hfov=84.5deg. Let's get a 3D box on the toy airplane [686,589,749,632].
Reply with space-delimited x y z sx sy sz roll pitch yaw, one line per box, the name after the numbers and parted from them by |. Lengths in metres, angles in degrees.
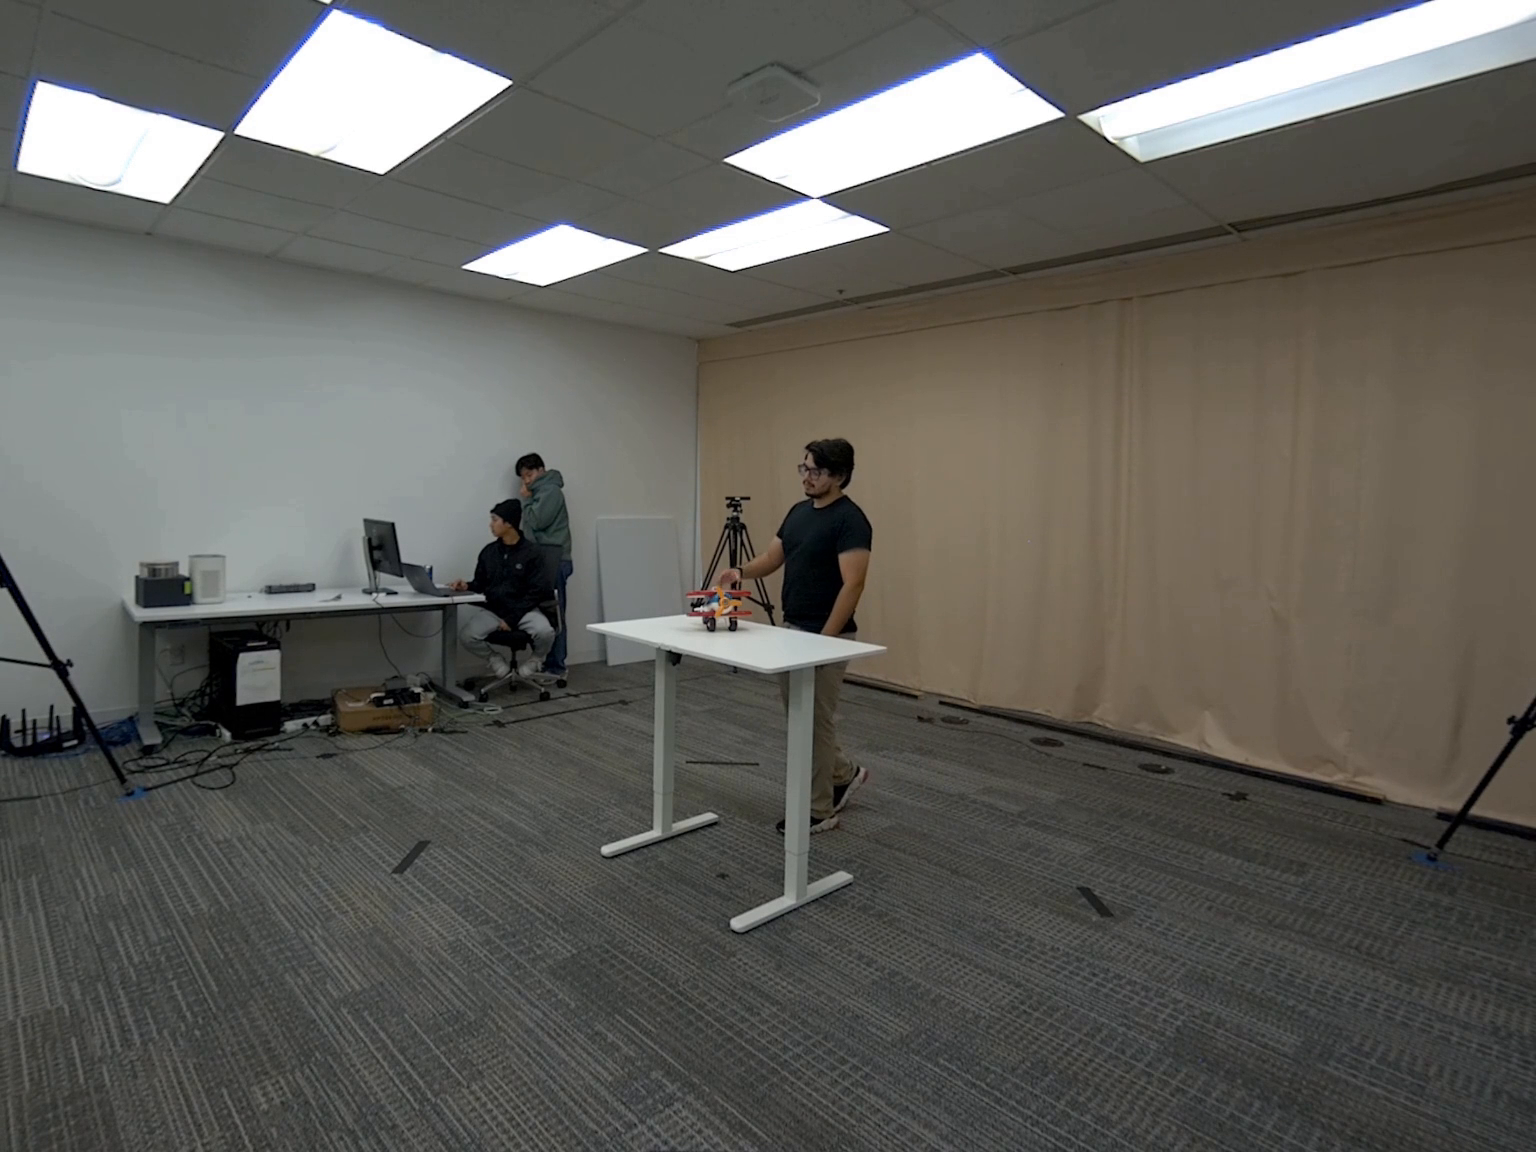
-0.231 0.125 3.281 0.266 0.156 0.245 8 9 44 | toy airplane
